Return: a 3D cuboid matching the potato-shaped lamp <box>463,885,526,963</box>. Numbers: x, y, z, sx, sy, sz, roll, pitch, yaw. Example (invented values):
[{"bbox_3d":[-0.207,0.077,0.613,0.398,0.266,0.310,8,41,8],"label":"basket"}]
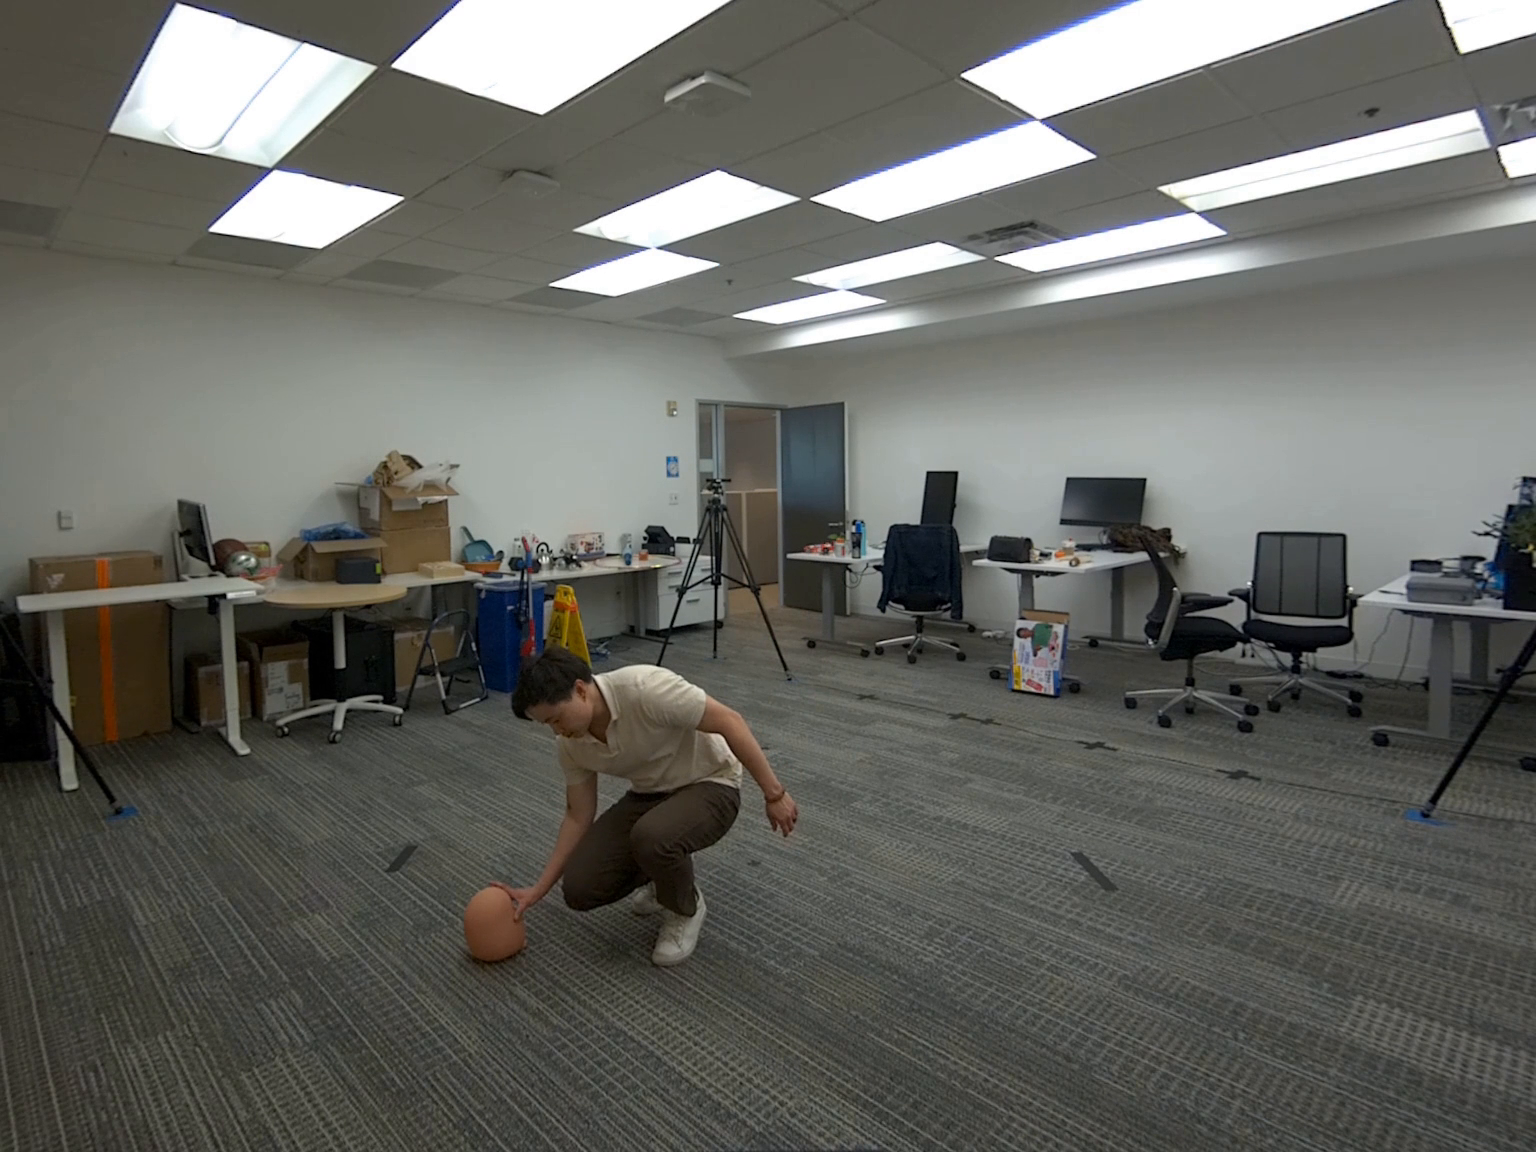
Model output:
[{"bbox_3d":[-0.806,1.031,2.530,0.168,0.196,0.170,-16,15,-41],"label":"potato-shaped lamp"}]
